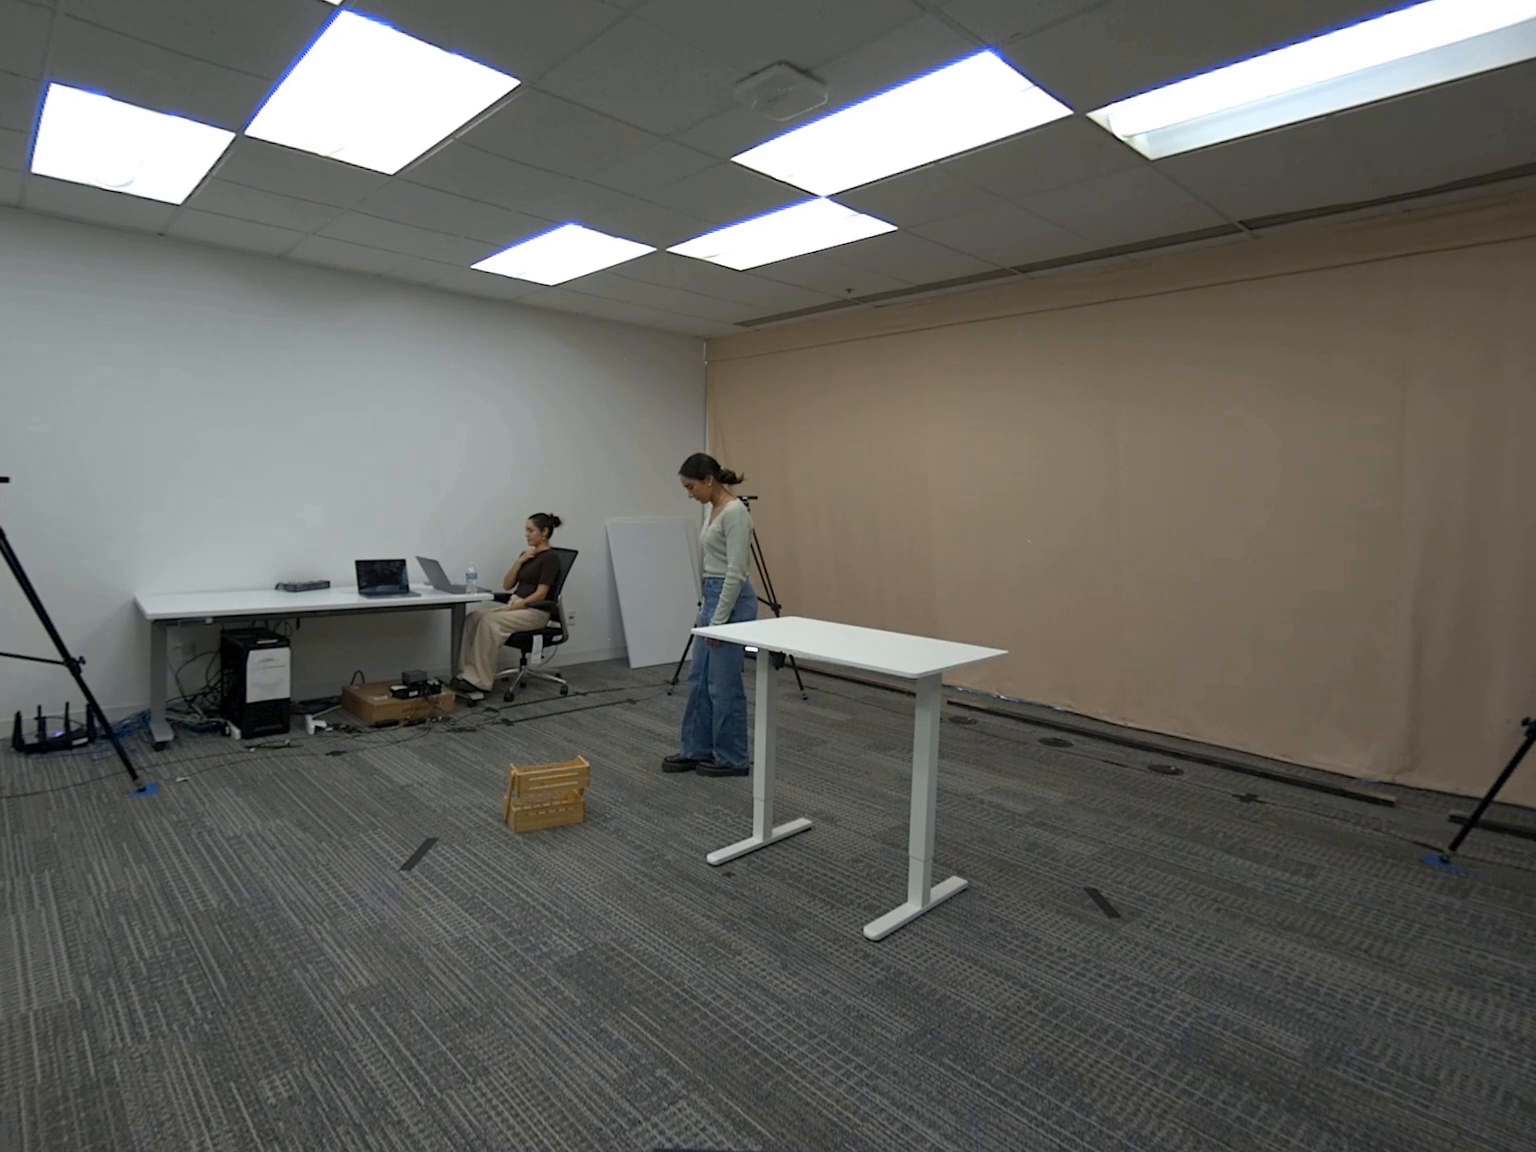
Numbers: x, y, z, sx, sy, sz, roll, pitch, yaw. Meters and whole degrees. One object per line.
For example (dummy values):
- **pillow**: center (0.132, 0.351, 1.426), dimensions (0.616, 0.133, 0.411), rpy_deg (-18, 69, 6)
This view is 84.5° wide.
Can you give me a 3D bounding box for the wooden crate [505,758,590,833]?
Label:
- **wooden crate**: center (-0.963, 0.908, 3.593), dimensions (0.318, 0.272, 0.309), rpy_deg (0, 5, -30)
